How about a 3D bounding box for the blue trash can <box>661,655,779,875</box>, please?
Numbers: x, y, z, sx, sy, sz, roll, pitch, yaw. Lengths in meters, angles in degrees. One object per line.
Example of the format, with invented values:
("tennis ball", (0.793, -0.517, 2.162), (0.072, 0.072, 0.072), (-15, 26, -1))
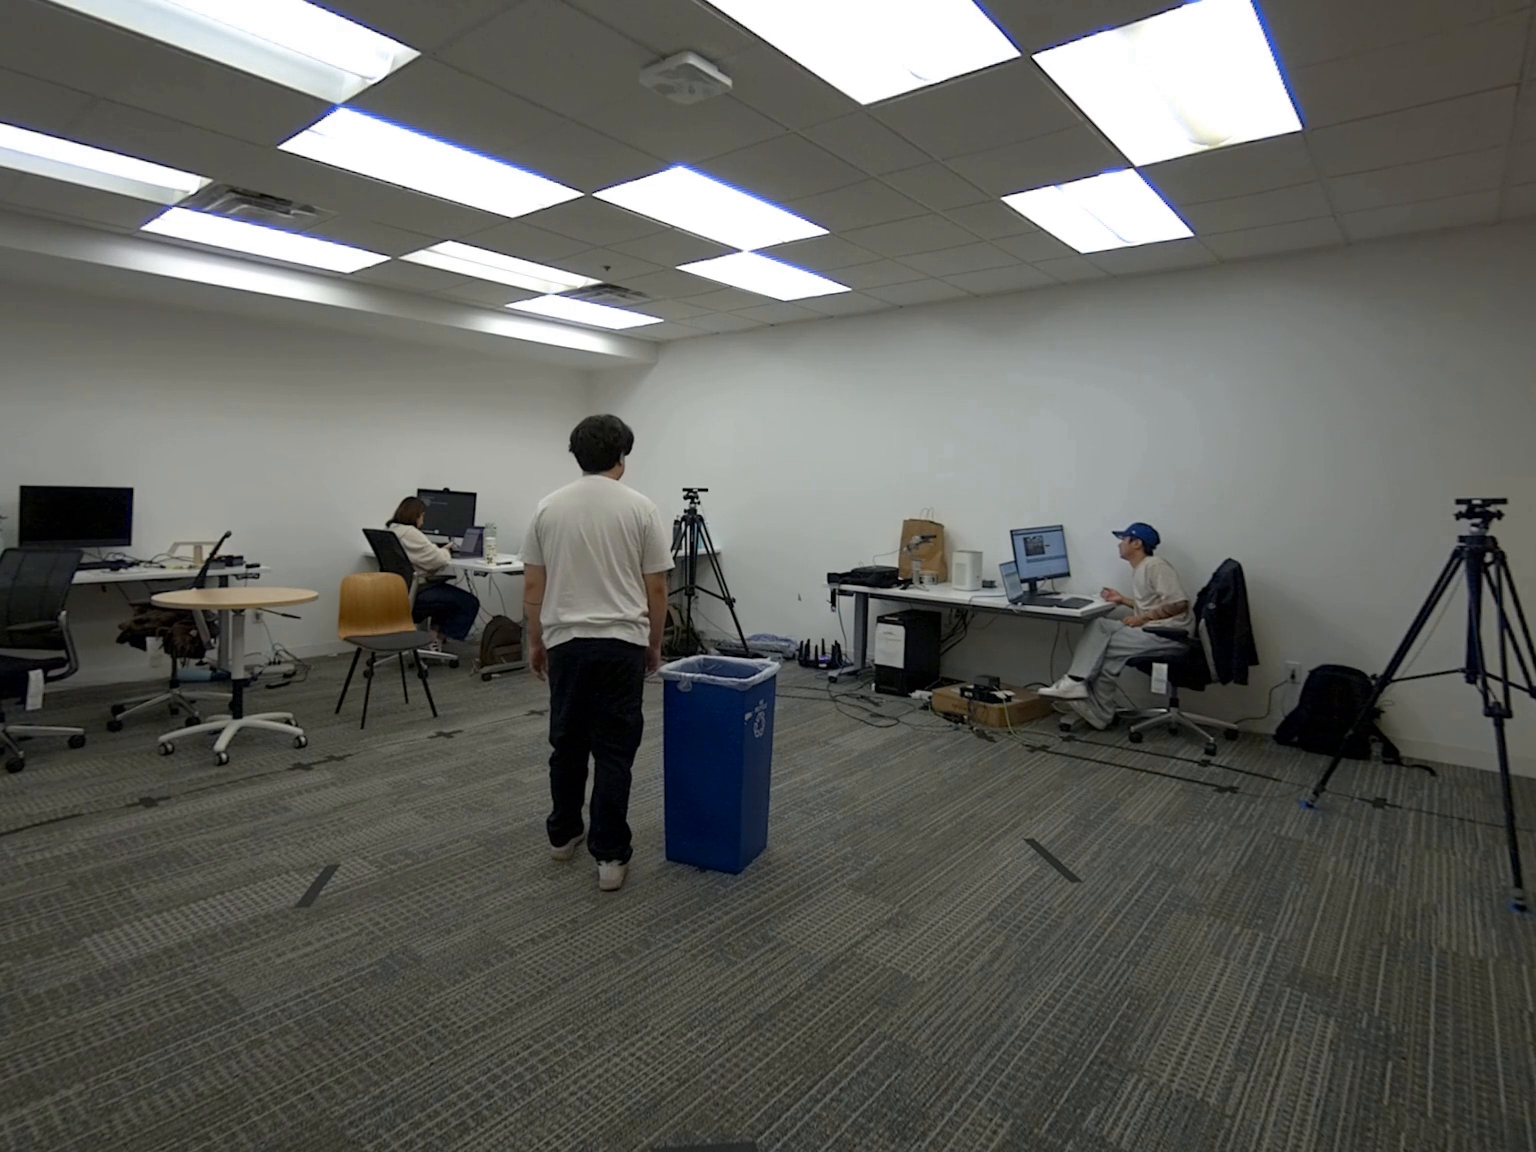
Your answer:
("blue trash can", (-0.198, 0.699, 3.253), (0.387, 0.711, 0.366), (3, 4, 23))
